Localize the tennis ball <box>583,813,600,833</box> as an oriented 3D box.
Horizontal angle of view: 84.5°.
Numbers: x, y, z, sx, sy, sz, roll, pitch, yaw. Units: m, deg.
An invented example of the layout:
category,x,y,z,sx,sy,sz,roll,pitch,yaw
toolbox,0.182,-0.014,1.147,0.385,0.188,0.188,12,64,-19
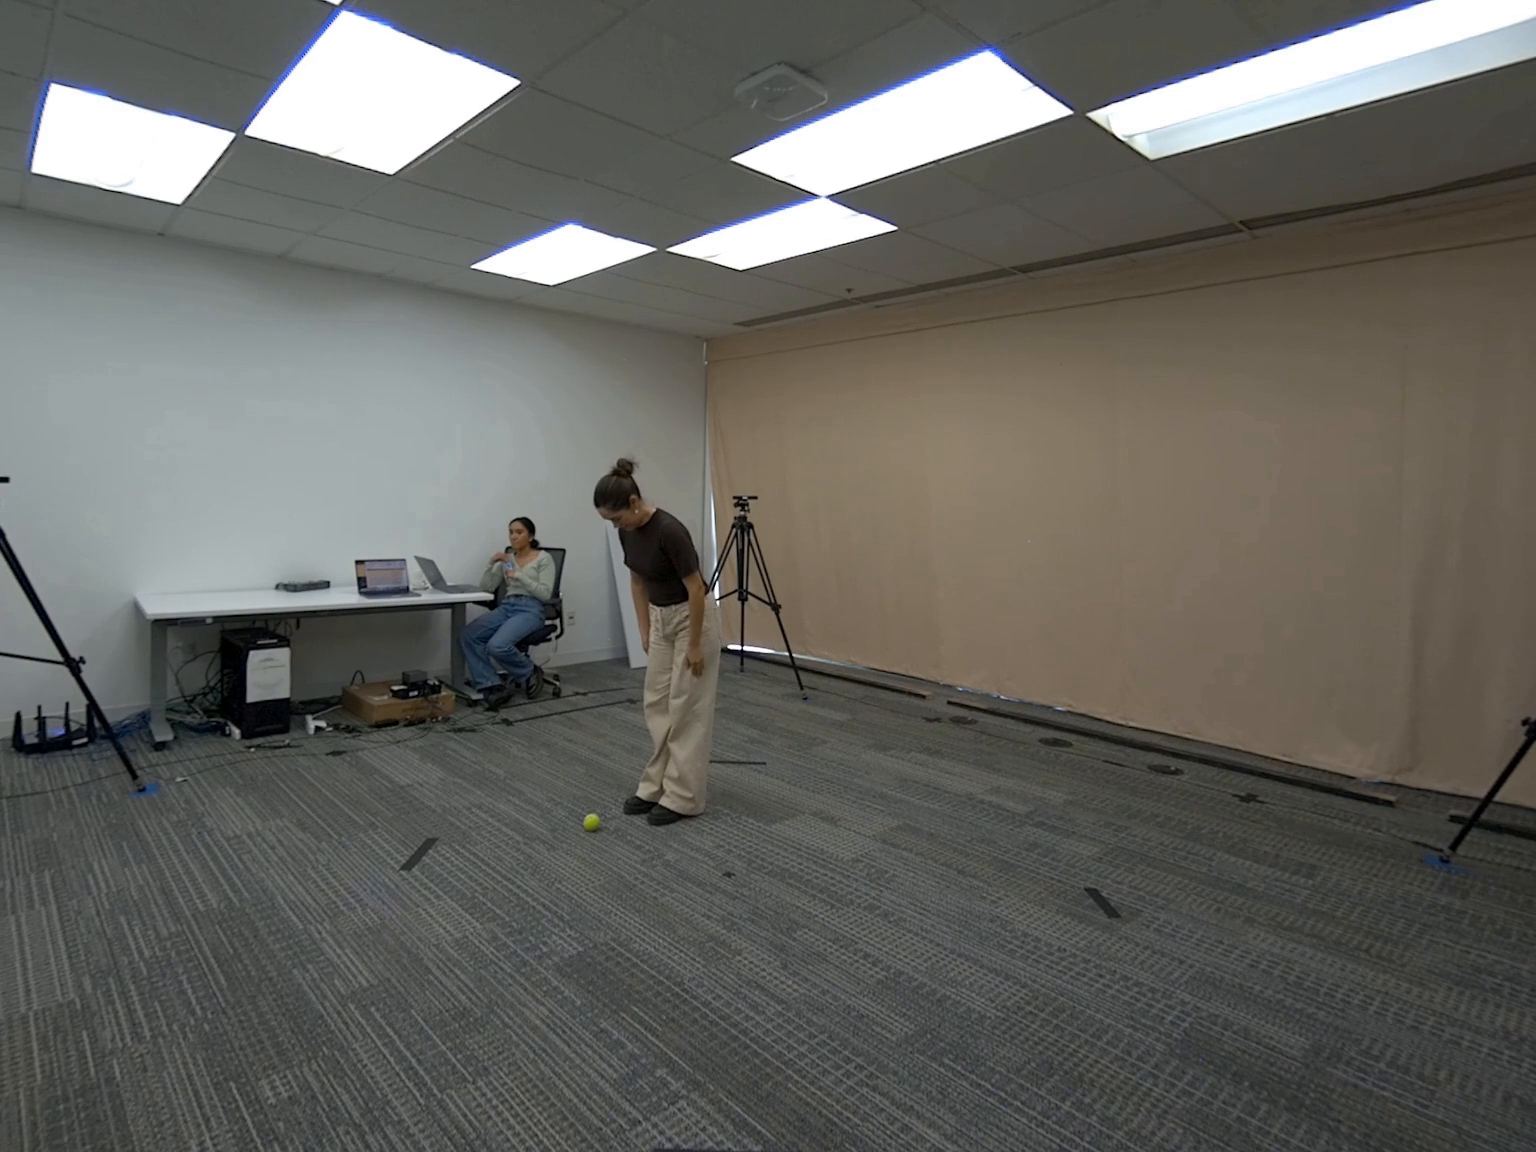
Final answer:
category,x,y,z,sx,sy,sz,roll,pitch,yaw
tennis ball,-0.734,1.020,3.482,0.066,0.066,0.067,1,4,-1
